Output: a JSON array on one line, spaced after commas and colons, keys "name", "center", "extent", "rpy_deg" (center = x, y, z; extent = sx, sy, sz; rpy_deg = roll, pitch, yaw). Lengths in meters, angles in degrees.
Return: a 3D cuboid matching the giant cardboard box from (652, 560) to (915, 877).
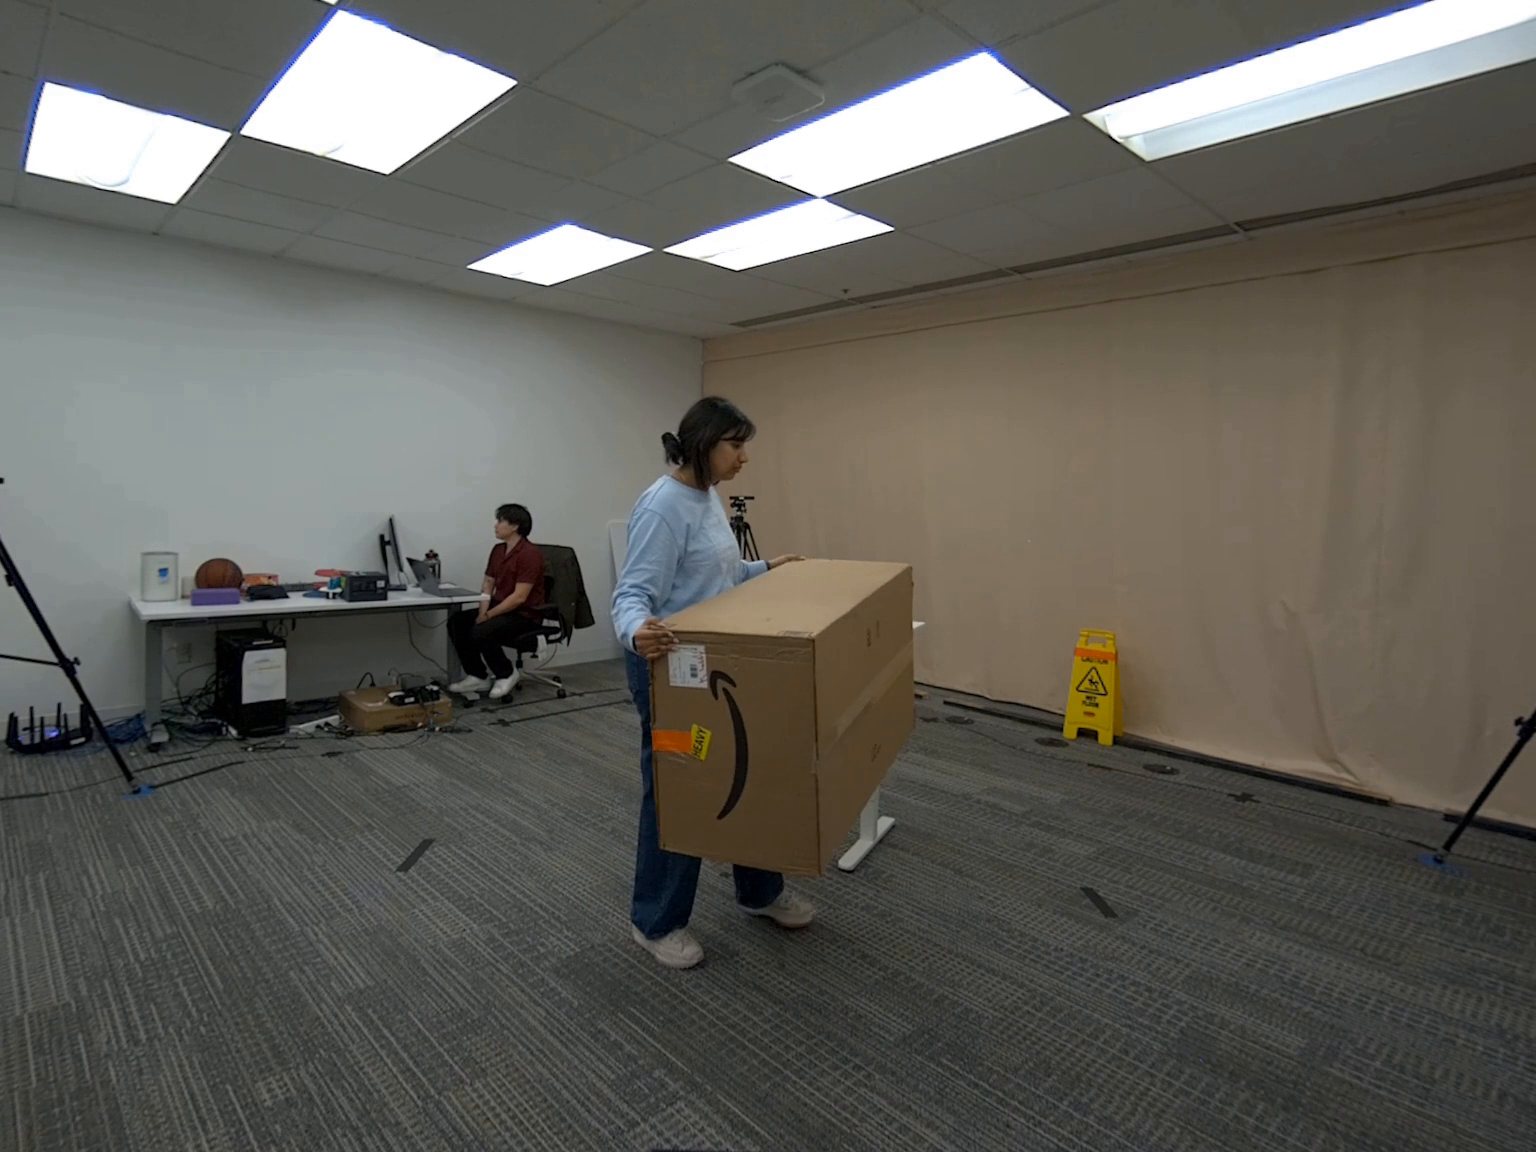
[{"name": "giant cardboard box", "center": [0.103, 0.325, 2.437], "extent": [0.433, 0.574, 1.014], "rpy_deg": [0, 9, 22]}]
